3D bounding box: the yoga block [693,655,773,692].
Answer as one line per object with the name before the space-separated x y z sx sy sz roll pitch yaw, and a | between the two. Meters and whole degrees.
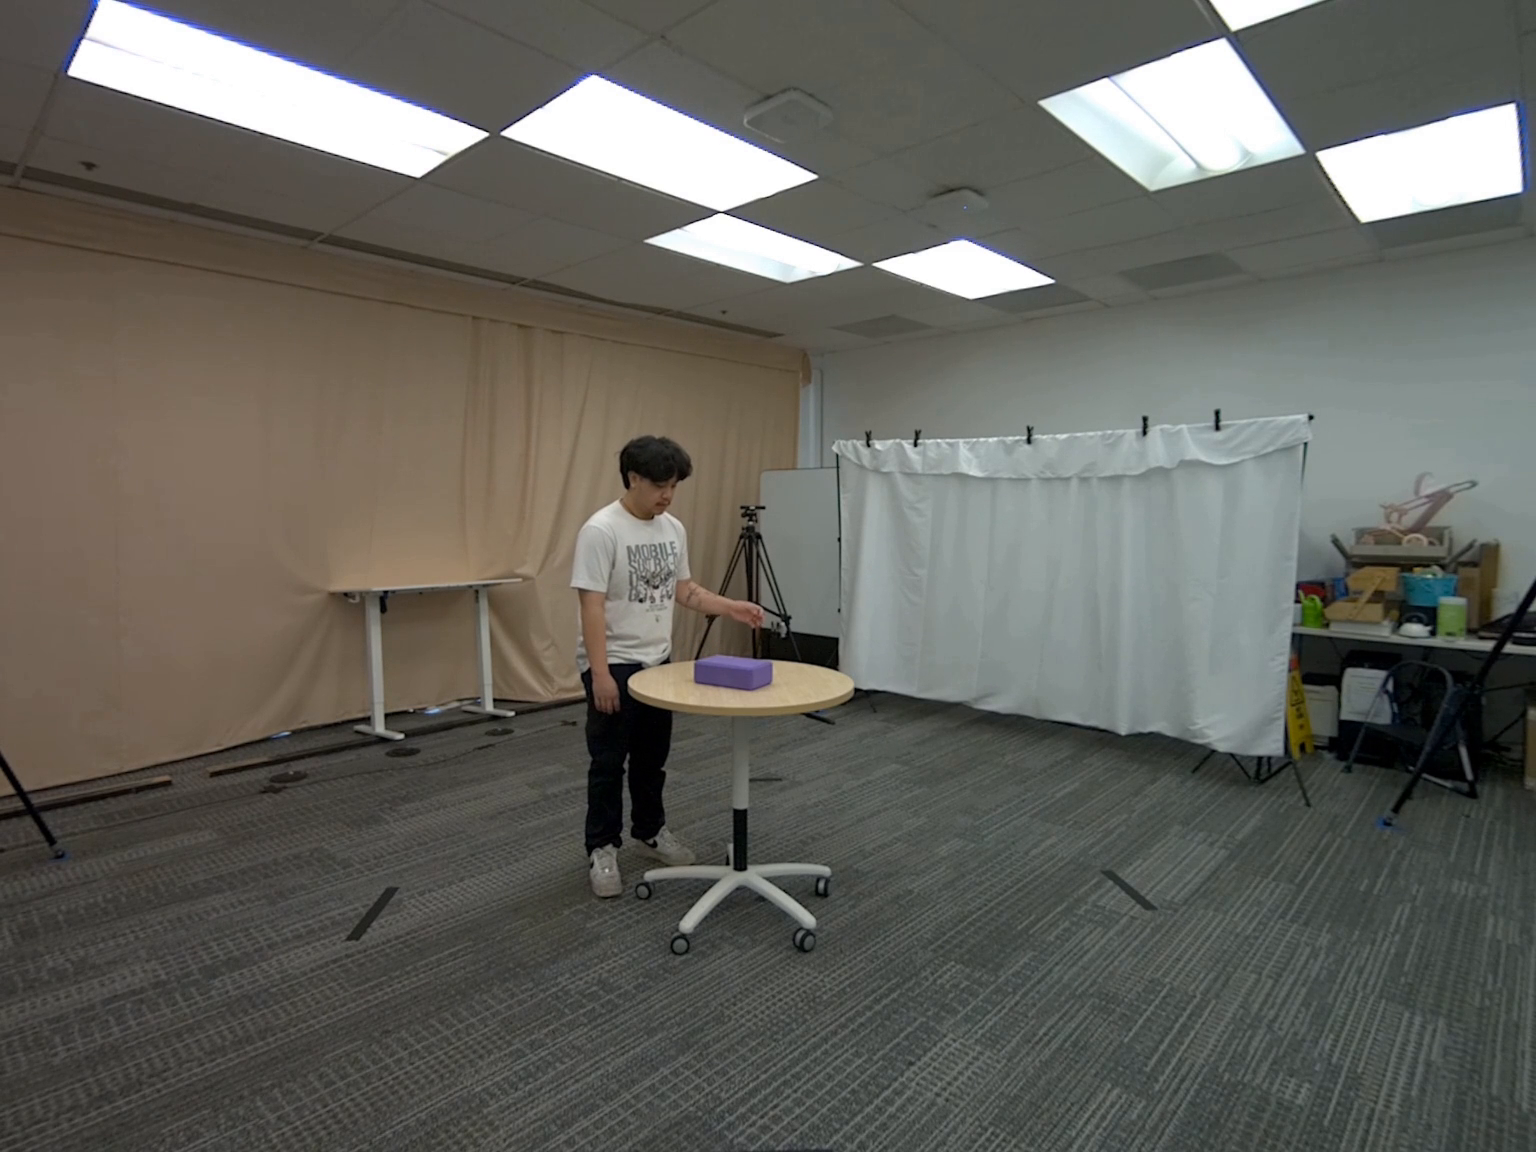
yoga block | -0.114 0.323 2.817 0.236 0.076 0.145 4 6 30
